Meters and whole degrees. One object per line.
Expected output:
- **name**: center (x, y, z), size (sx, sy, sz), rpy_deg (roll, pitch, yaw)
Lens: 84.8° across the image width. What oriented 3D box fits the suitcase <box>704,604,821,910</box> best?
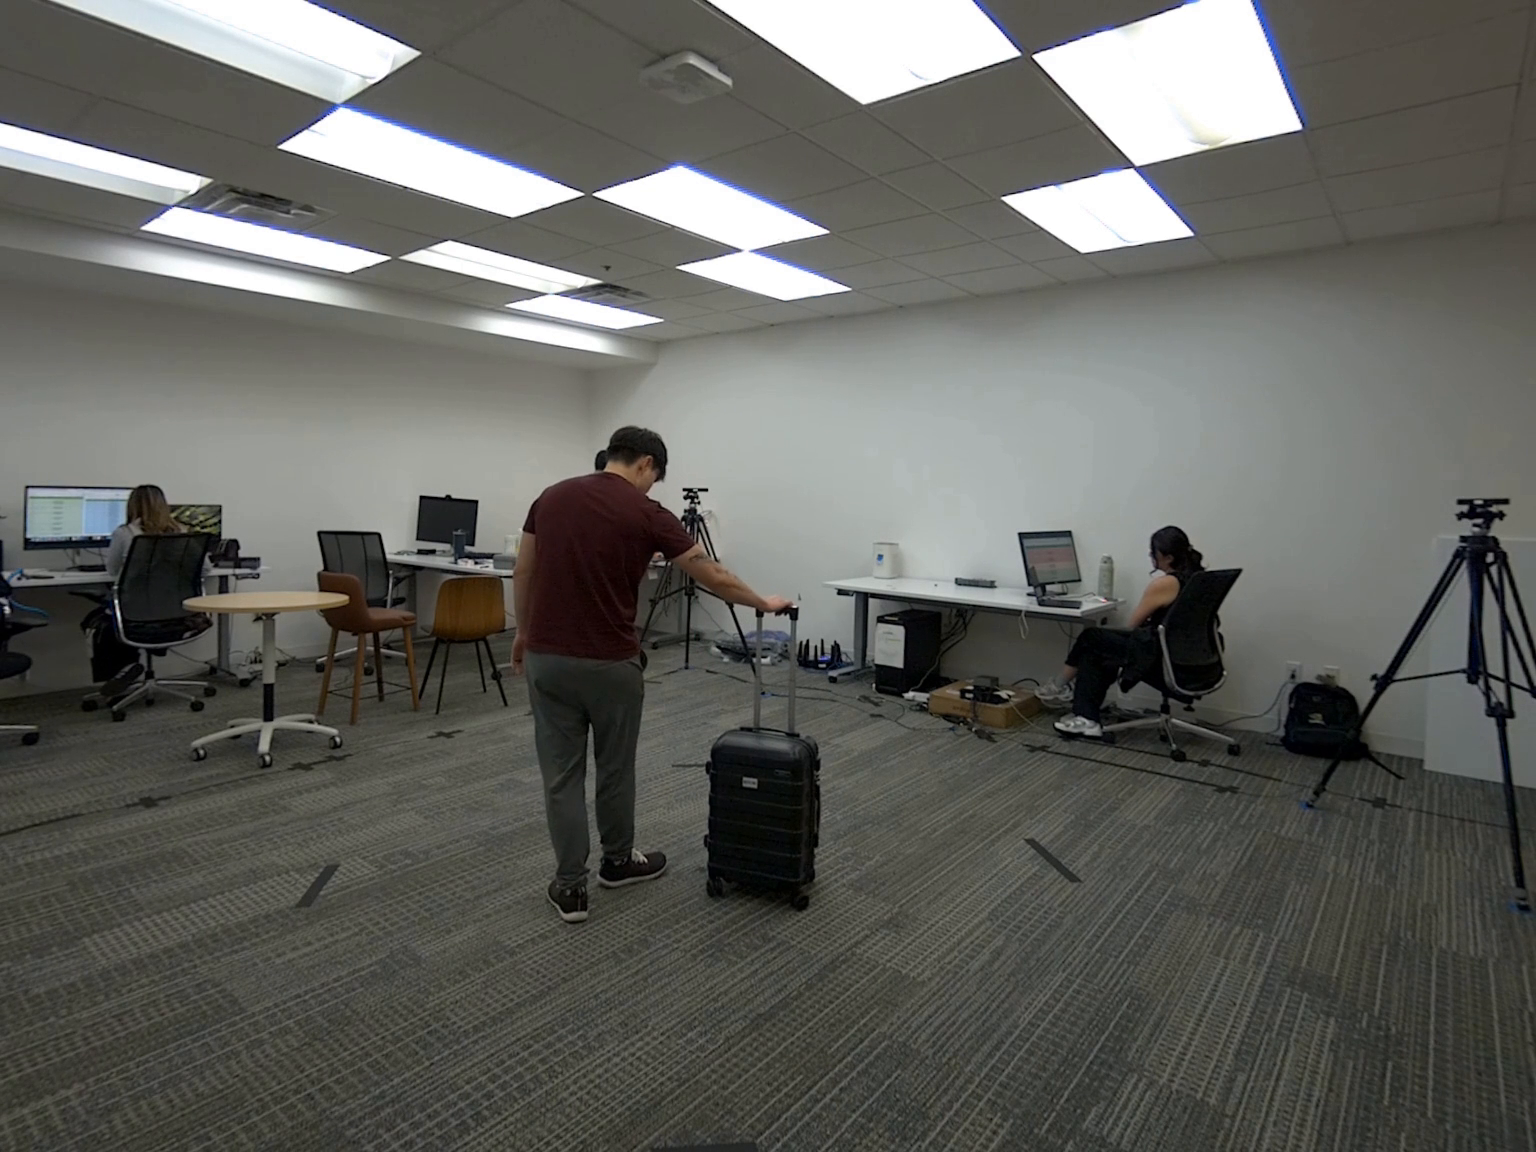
- **suitcase**: center (-0.017, 0.619, 2.944), size (0.392, 0.974, 0.253), rpy_deg (3, 5, 19)
